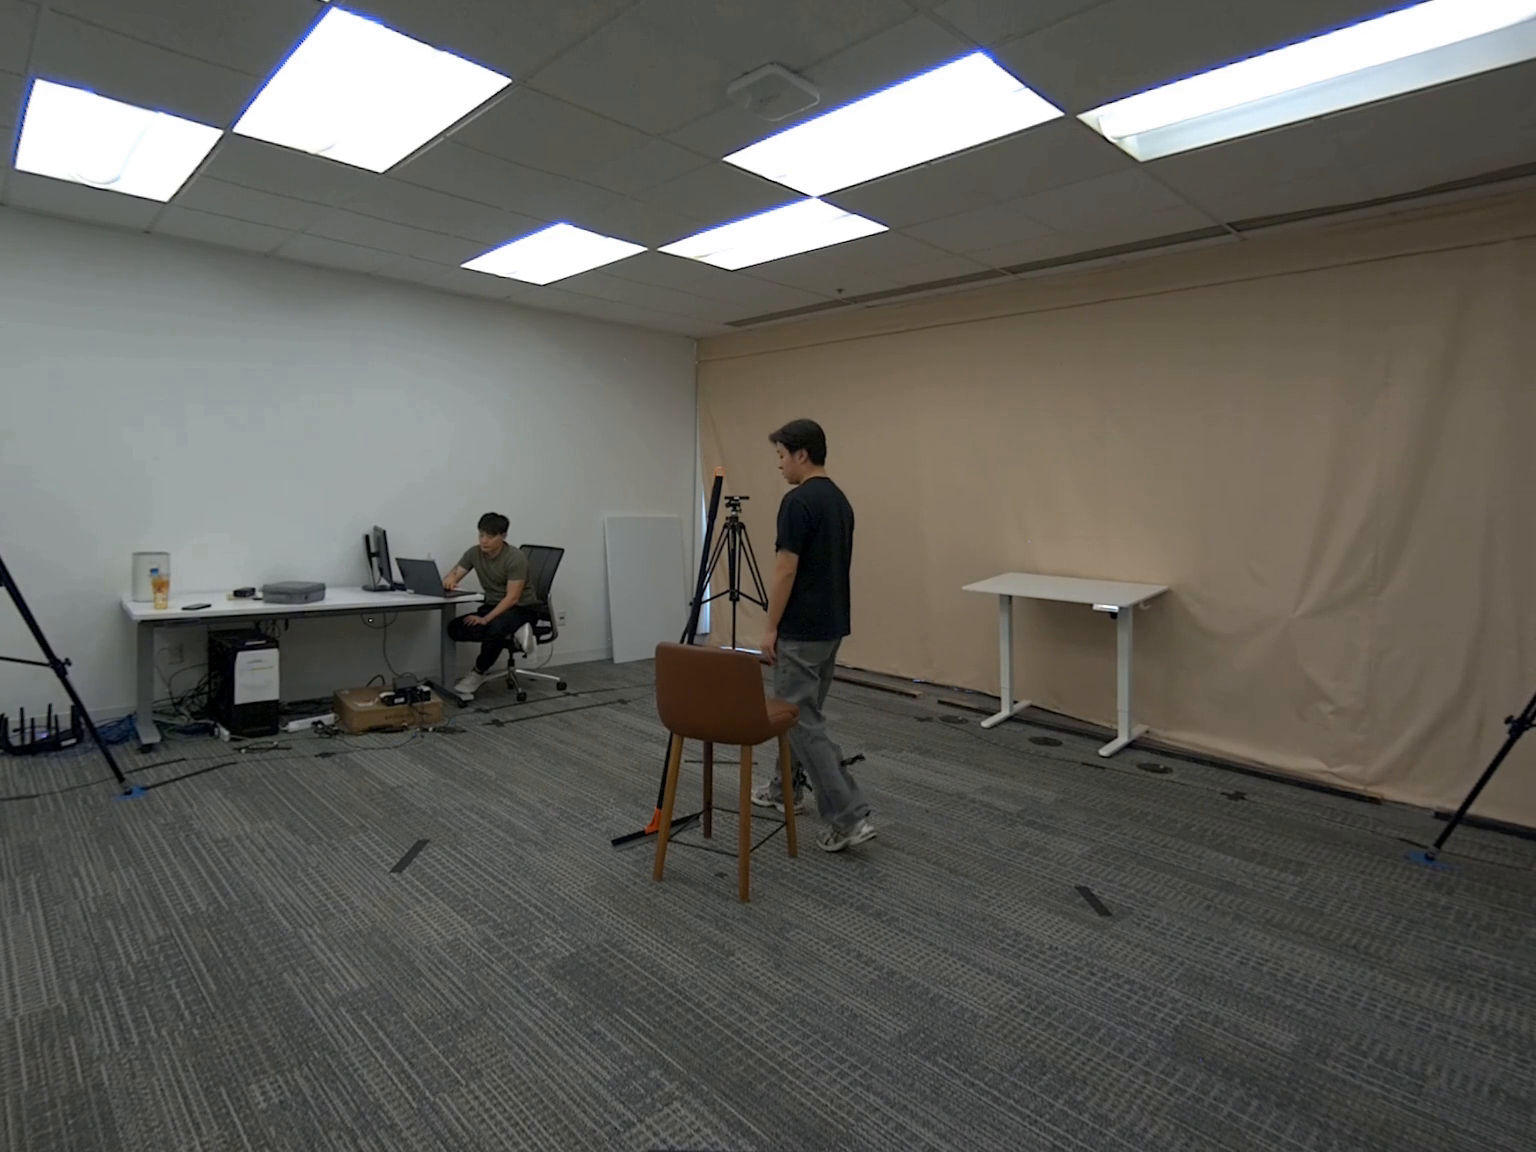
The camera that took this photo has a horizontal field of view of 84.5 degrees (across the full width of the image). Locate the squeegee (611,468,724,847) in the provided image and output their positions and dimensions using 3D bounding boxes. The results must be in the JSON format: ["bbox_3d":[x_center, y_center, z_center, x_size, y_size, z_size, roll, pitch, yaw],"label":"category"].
[{"bbox_3d":[-0.322,0.331,3.258,0.428,1.525,0.054,-2,18,-40],"label":"squeegee"}]
